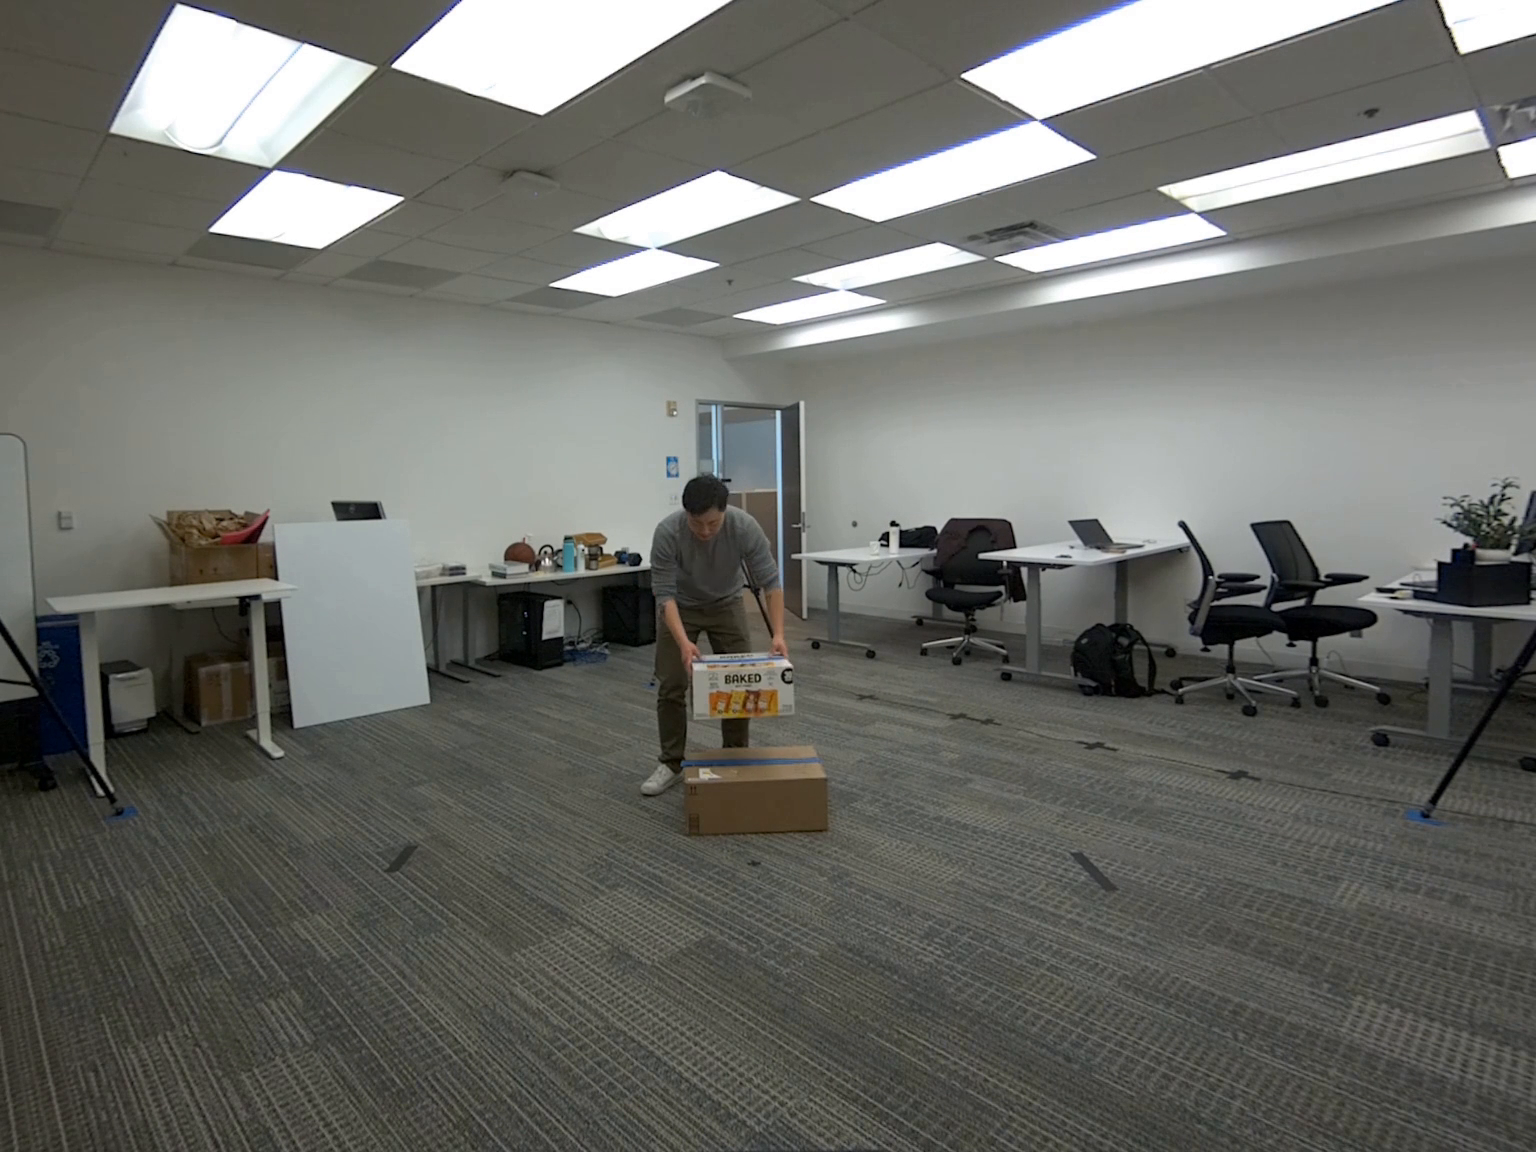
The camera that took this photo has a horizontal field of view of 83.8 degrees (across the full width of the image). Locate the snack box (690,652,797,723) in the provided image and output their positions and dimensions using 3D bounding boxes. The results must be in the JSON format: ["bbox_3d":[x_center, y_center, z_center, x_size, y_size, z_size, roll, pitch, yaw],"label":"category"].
[{"bbox_3d":[-0.116,0.458,3.579,0.403,0.205,0.343,-2,4,-6],"label":"snack box"}]
